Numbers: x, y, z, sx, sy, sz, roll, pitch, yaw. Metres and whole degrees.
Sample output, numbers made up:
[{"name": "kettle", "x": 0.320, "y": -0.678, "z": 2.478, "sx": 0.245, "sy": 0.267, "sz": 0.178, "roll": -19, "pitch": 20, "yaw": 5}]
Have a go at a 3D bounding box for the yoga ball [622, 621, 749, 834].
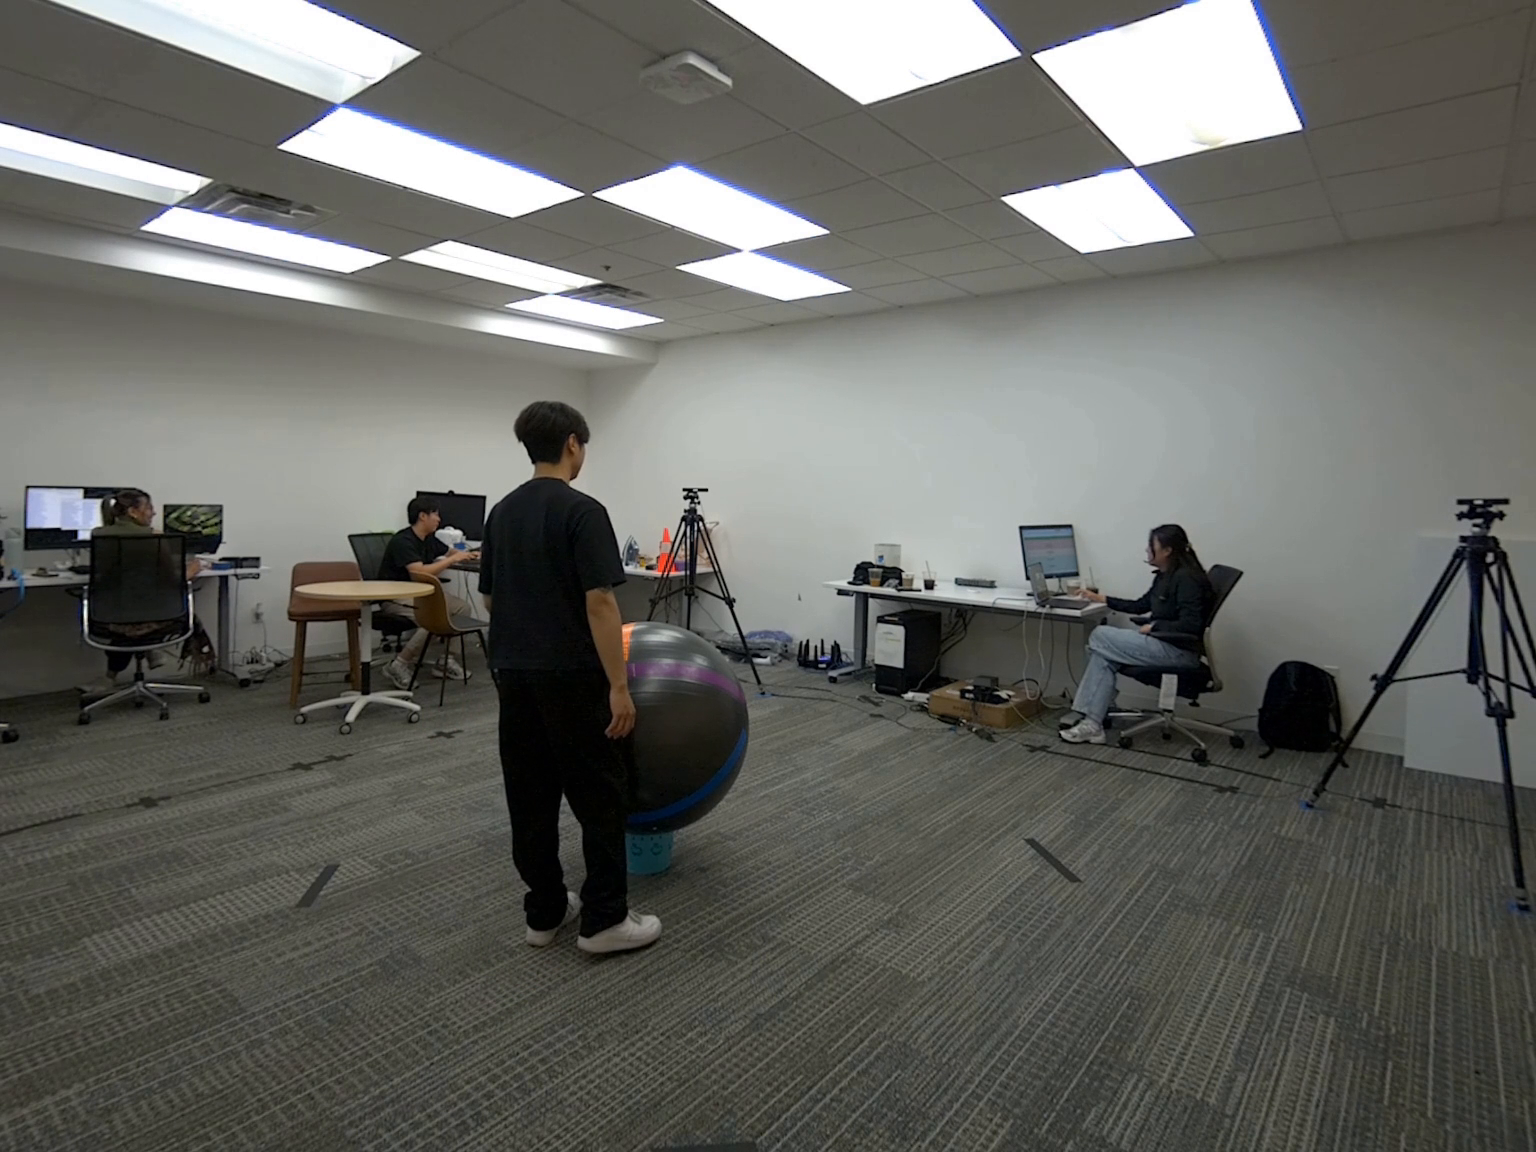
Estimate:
[{"name": "yoga ball", "x": -0.459, "y": 0.551, "z": 3.132, "sx": 0.757, "sy": 0.755, "sz": 0.762, "roll": 1, "pitch": 4, "yaw": -2}]
